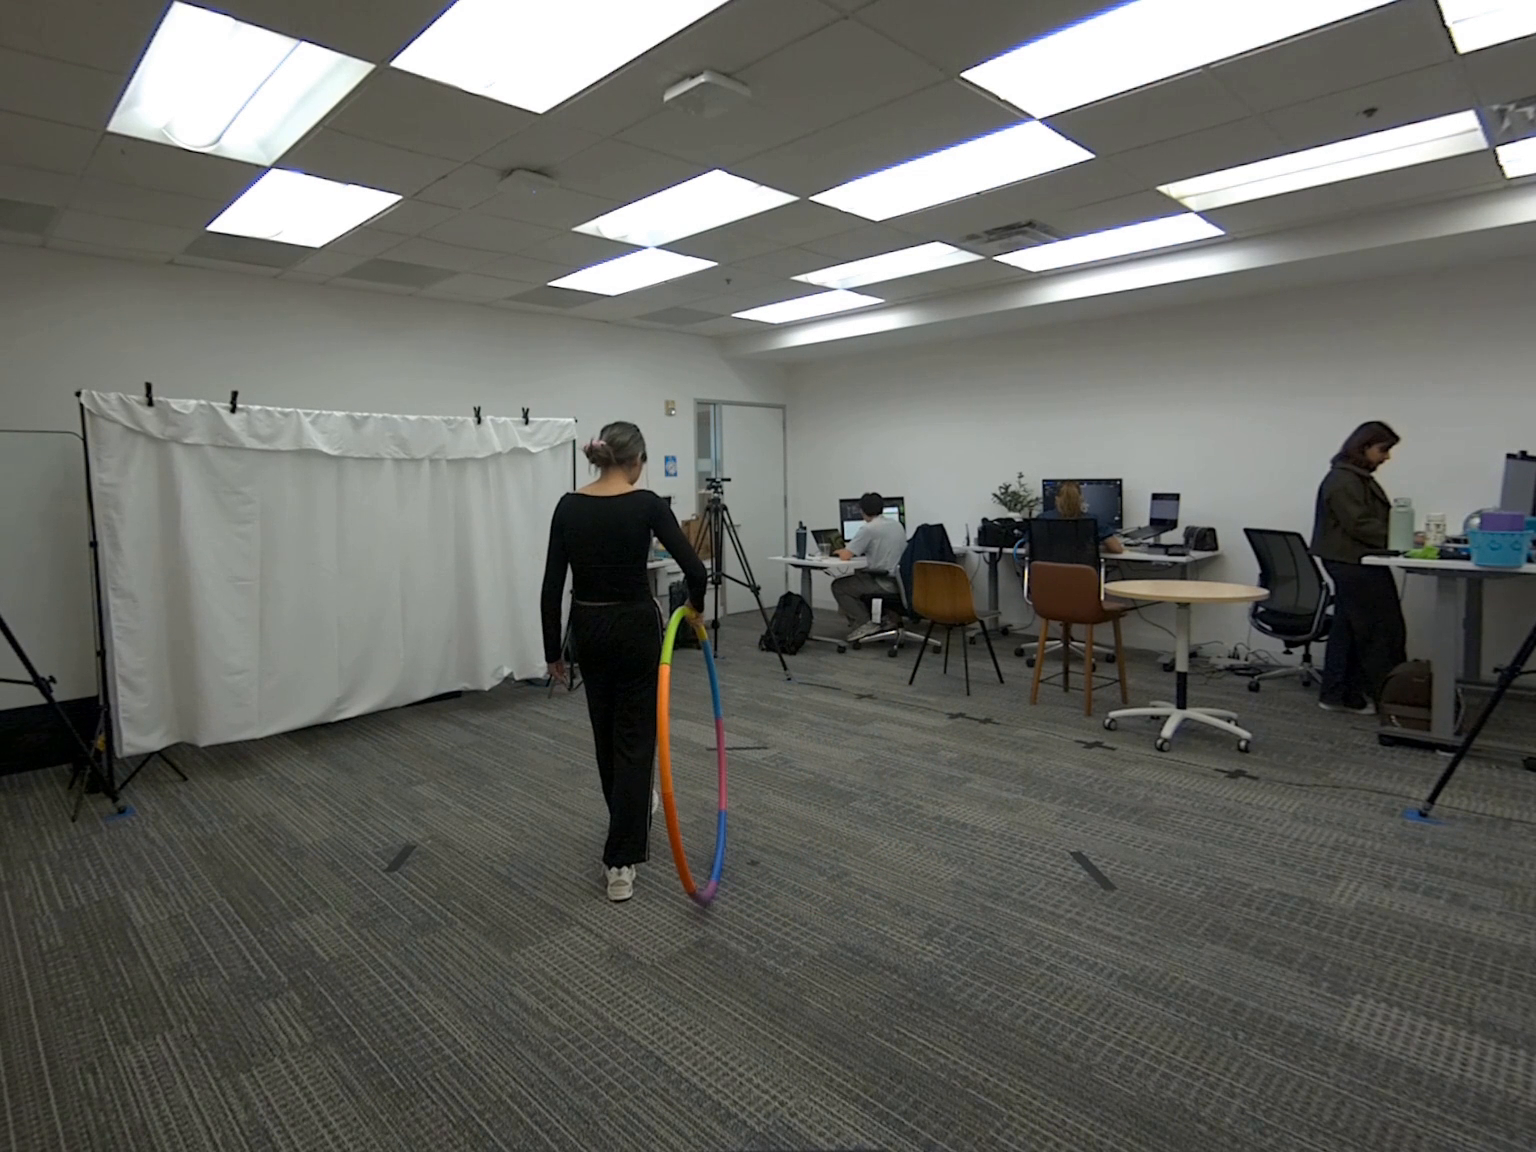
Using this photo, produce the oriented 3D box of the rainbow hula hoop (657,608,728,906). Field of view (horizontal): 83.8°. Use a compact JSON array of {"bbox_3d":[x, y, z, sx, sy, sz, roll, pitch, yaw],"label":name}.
[{"bbox_3d":[-0.238,0.594,2.924,0.036,0.975,0.977,-5,4,5],"label":"rainbow hula hoop"}]
